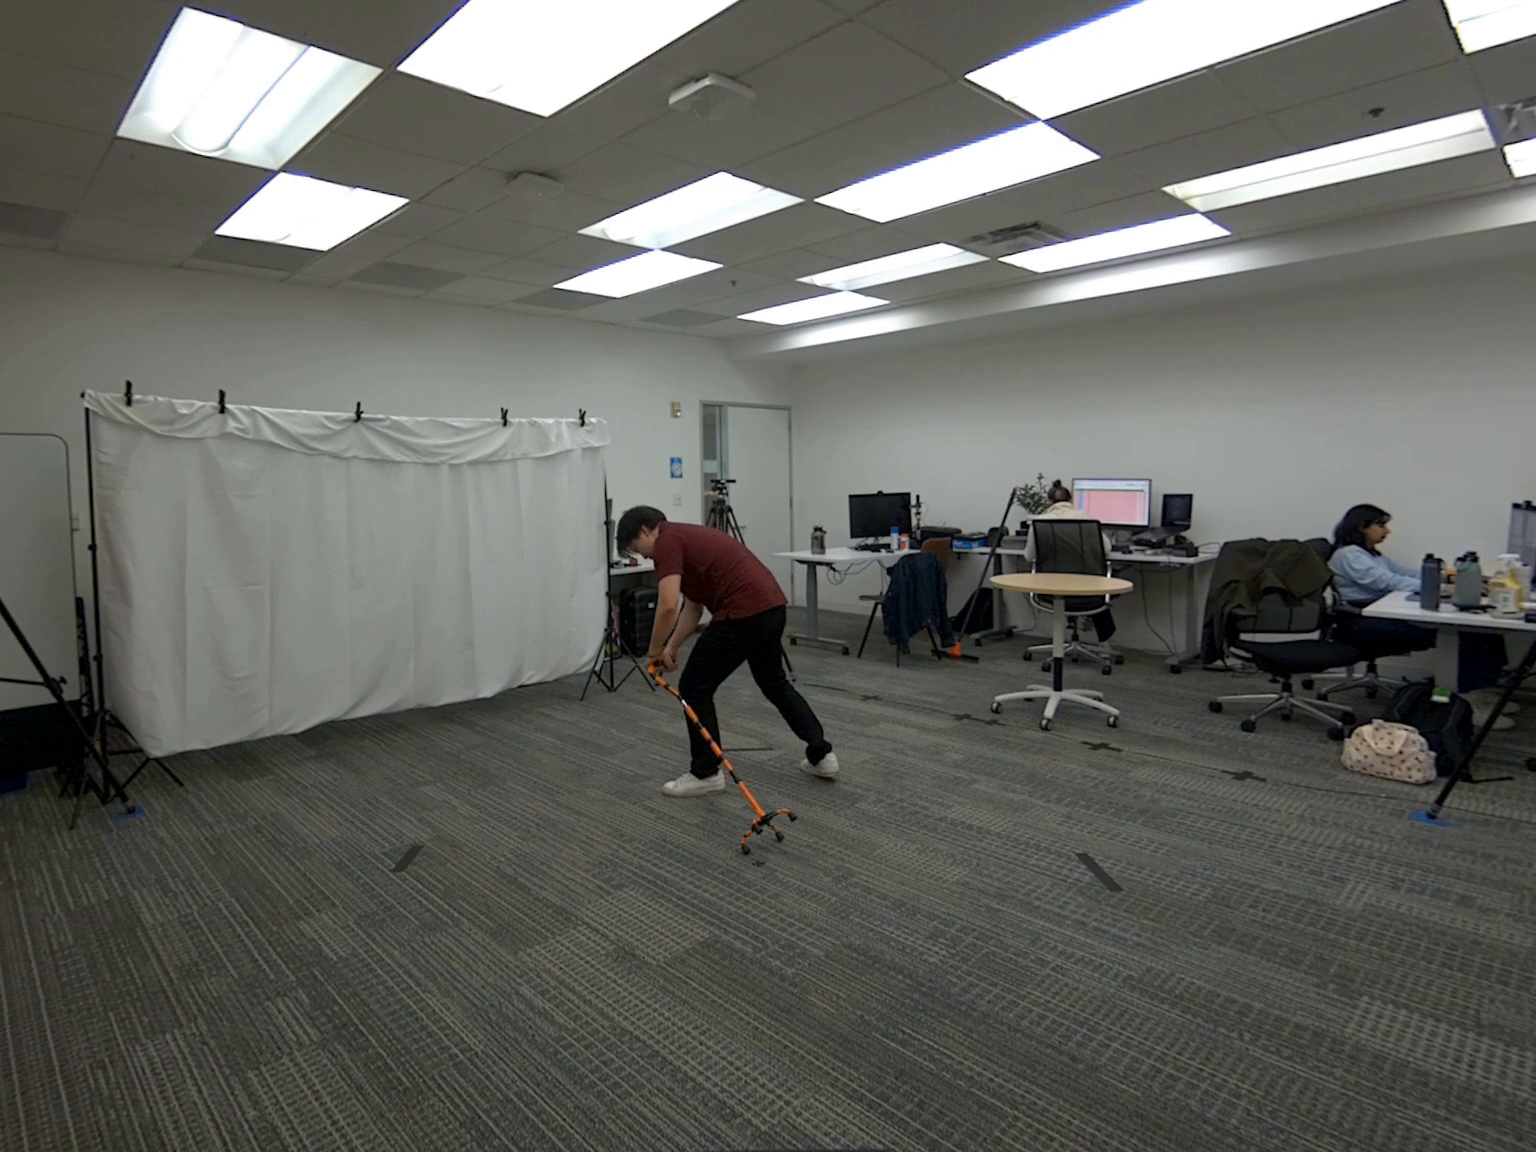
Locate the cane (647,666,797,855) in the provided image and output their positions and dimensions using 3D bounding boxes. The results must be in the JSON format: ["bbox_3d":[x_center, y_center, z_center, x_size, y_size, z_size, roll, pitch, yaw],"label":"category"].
[{"bbox_3d":[-0.242,0.685,3.474,0.201,0.150,0.943,-5,41,-40],"label":"cane"}]
